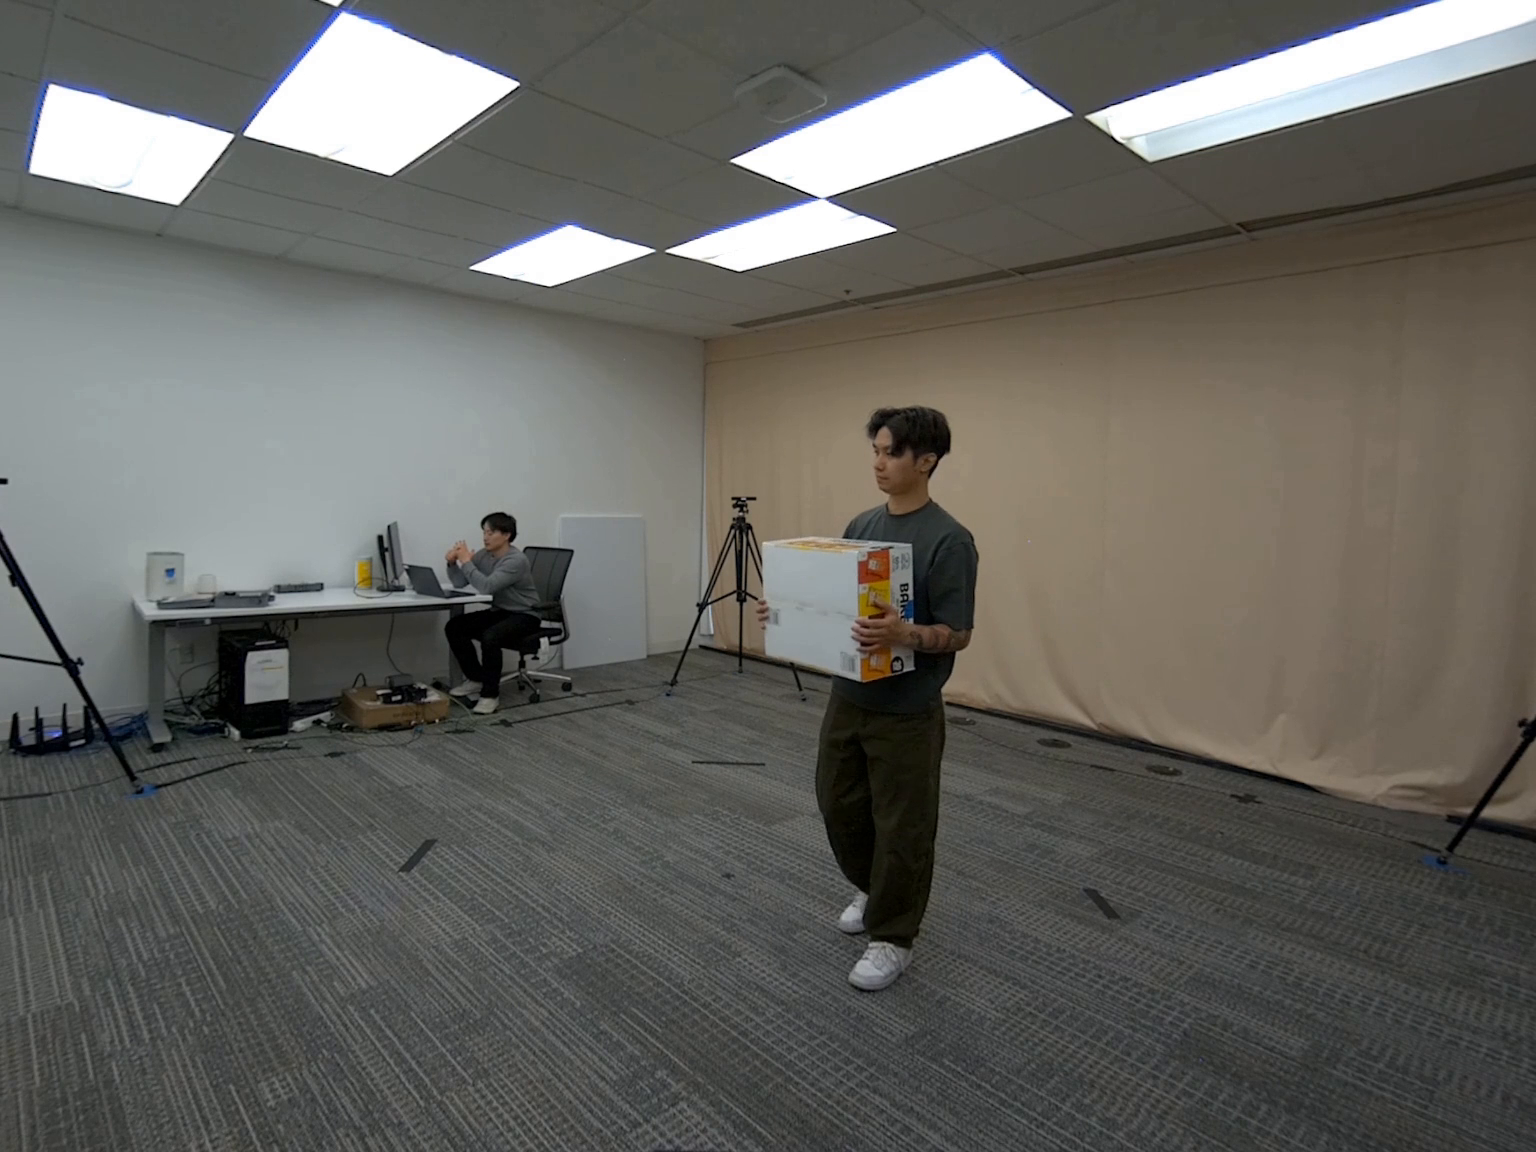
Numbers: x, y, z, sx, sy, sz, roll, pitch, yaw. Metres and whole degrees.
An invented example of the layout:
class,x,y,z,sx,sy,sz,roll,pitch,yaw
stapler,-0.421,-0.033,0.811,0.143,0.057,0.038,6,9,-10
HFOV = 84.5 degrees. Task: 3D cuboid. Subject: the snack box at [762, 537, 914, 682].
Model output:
class,x,y,z,sx,sy,sz,roll,pitch,yaw
snack box,0.180,0.077,2.369,0.201,0.339,0.415,-6,8,-37
